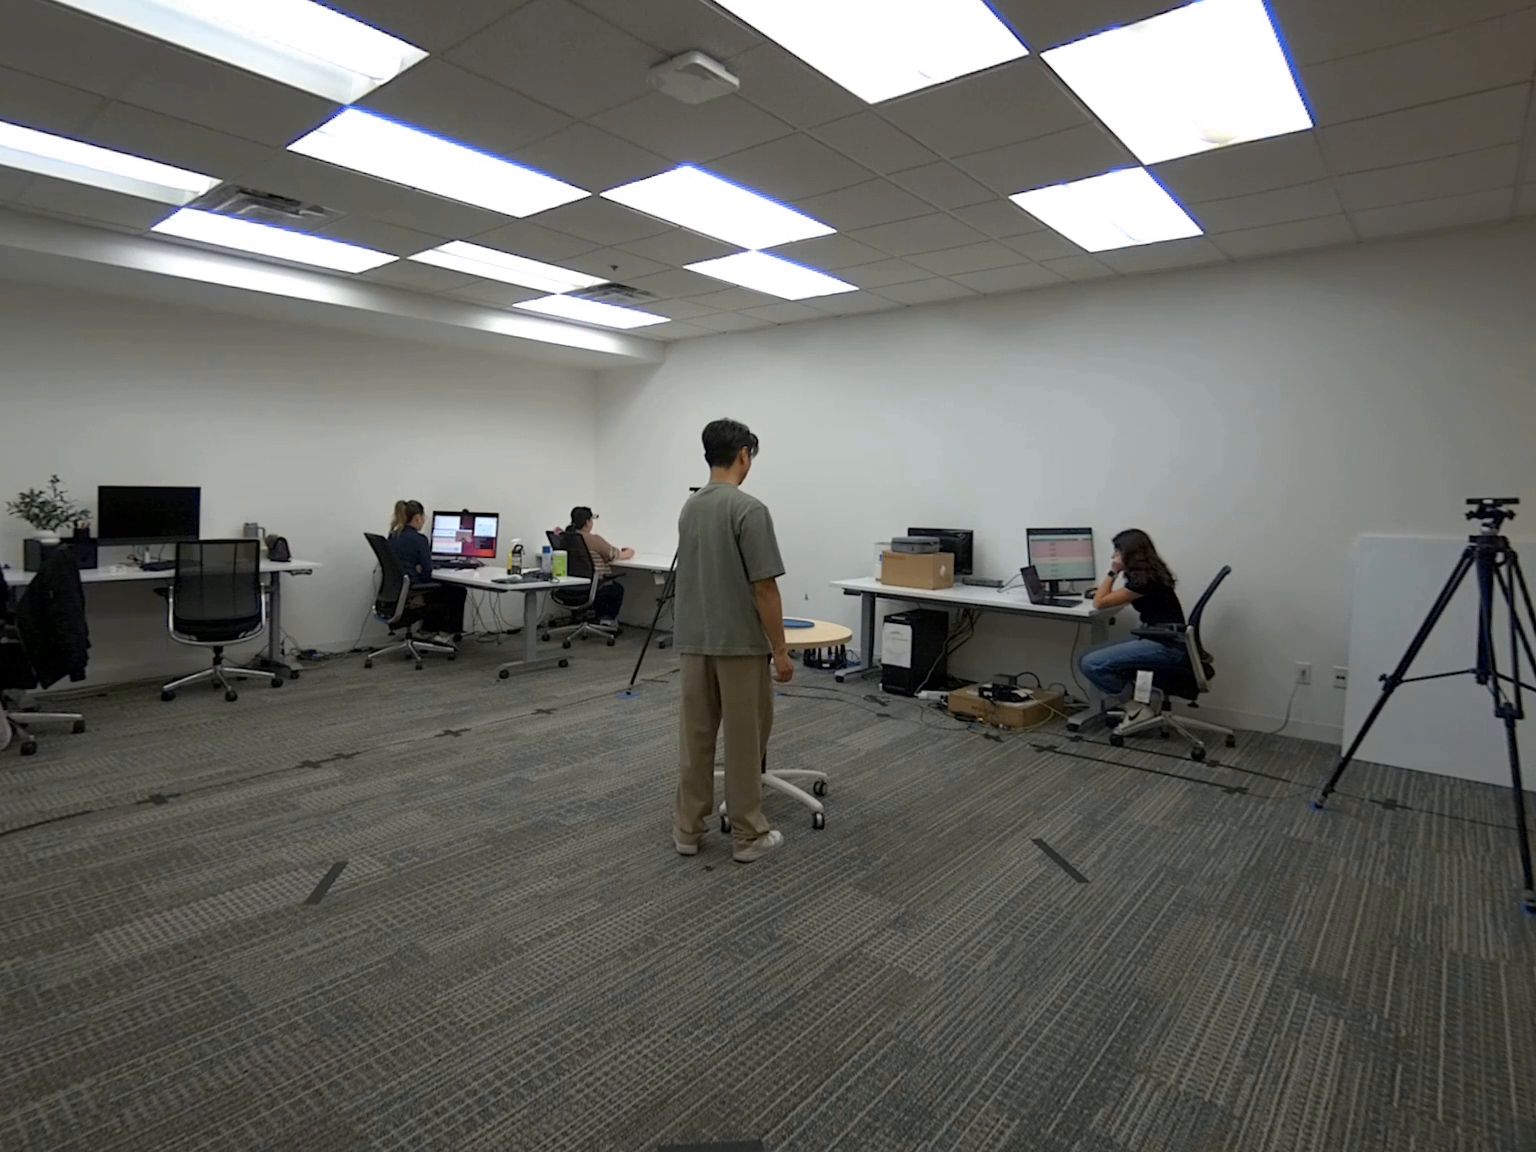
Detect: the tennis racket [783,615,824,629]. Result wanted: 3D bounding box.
[{"bbox_3d":[0.010,0.205,3.789,0.421,0.032,0.220,1,4,-30],"label":"tennis racket"}]
